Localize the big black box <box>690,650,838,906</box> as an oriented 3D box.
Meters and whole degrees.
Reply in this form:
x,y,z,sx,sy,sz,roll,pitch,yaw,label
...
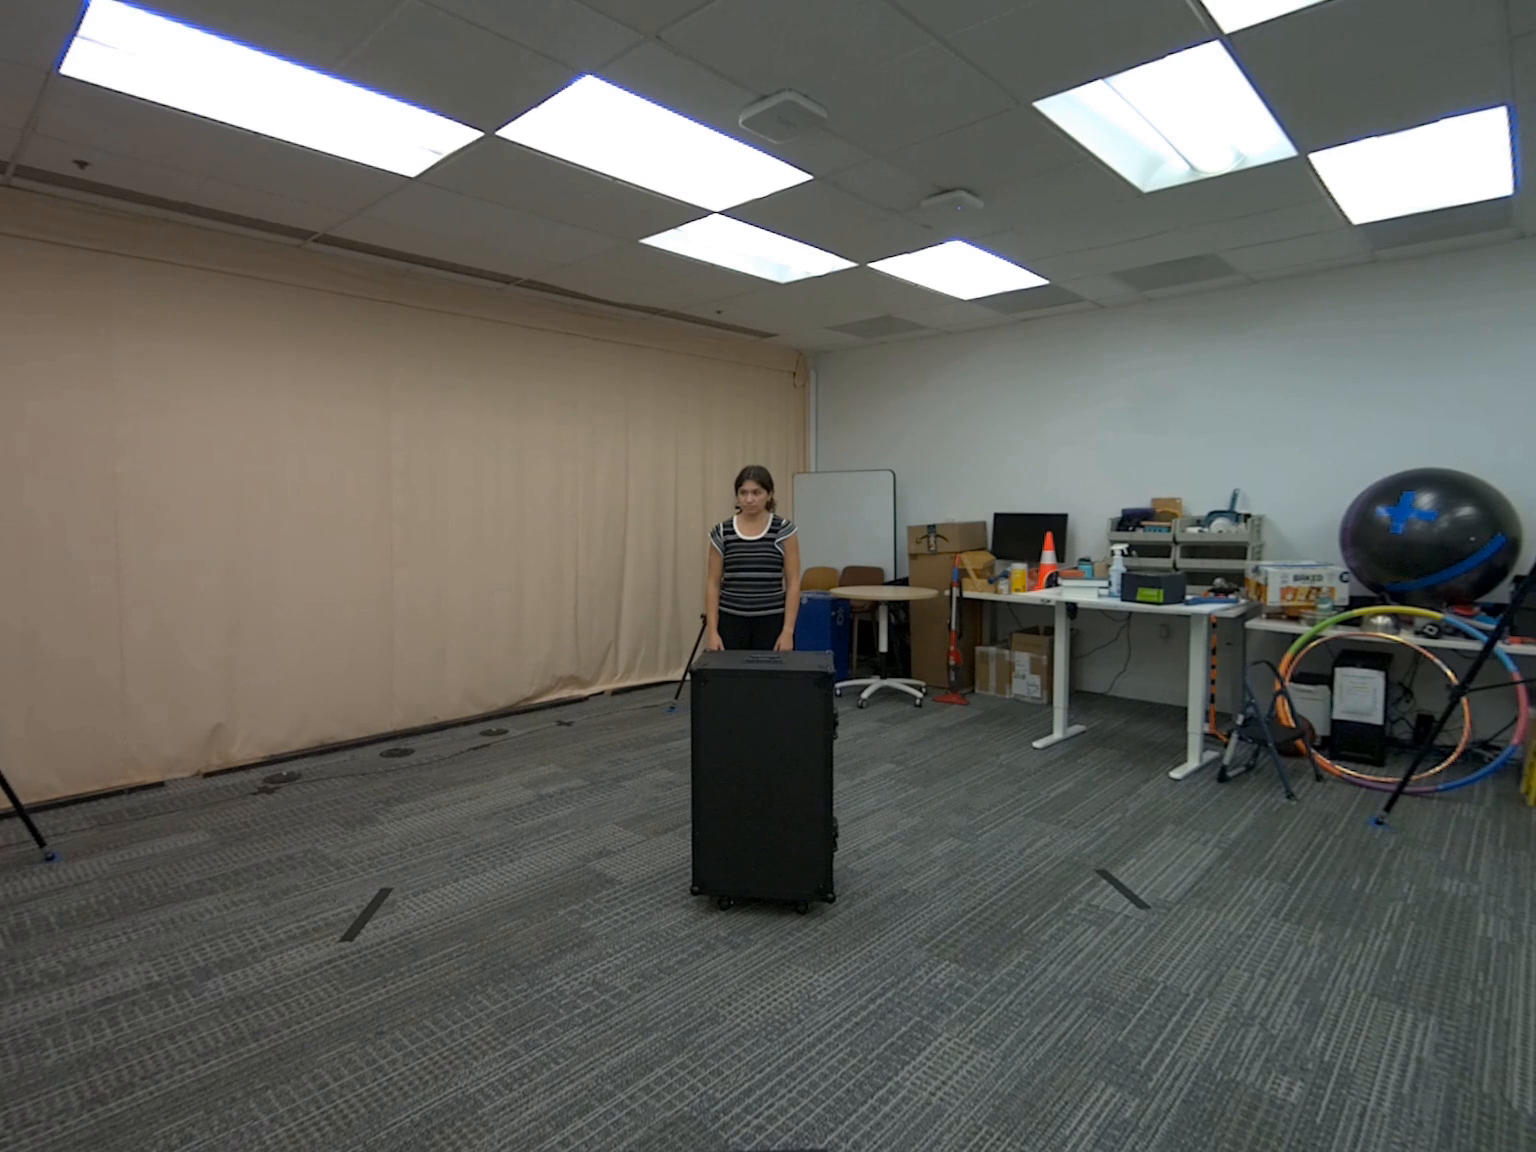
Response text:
x,y,z,sx,sy,sz,roll,pitch,yaw,label
-0.014,0.712,3.003,0.525,0.860,0.394,-1,3,7,big black box
